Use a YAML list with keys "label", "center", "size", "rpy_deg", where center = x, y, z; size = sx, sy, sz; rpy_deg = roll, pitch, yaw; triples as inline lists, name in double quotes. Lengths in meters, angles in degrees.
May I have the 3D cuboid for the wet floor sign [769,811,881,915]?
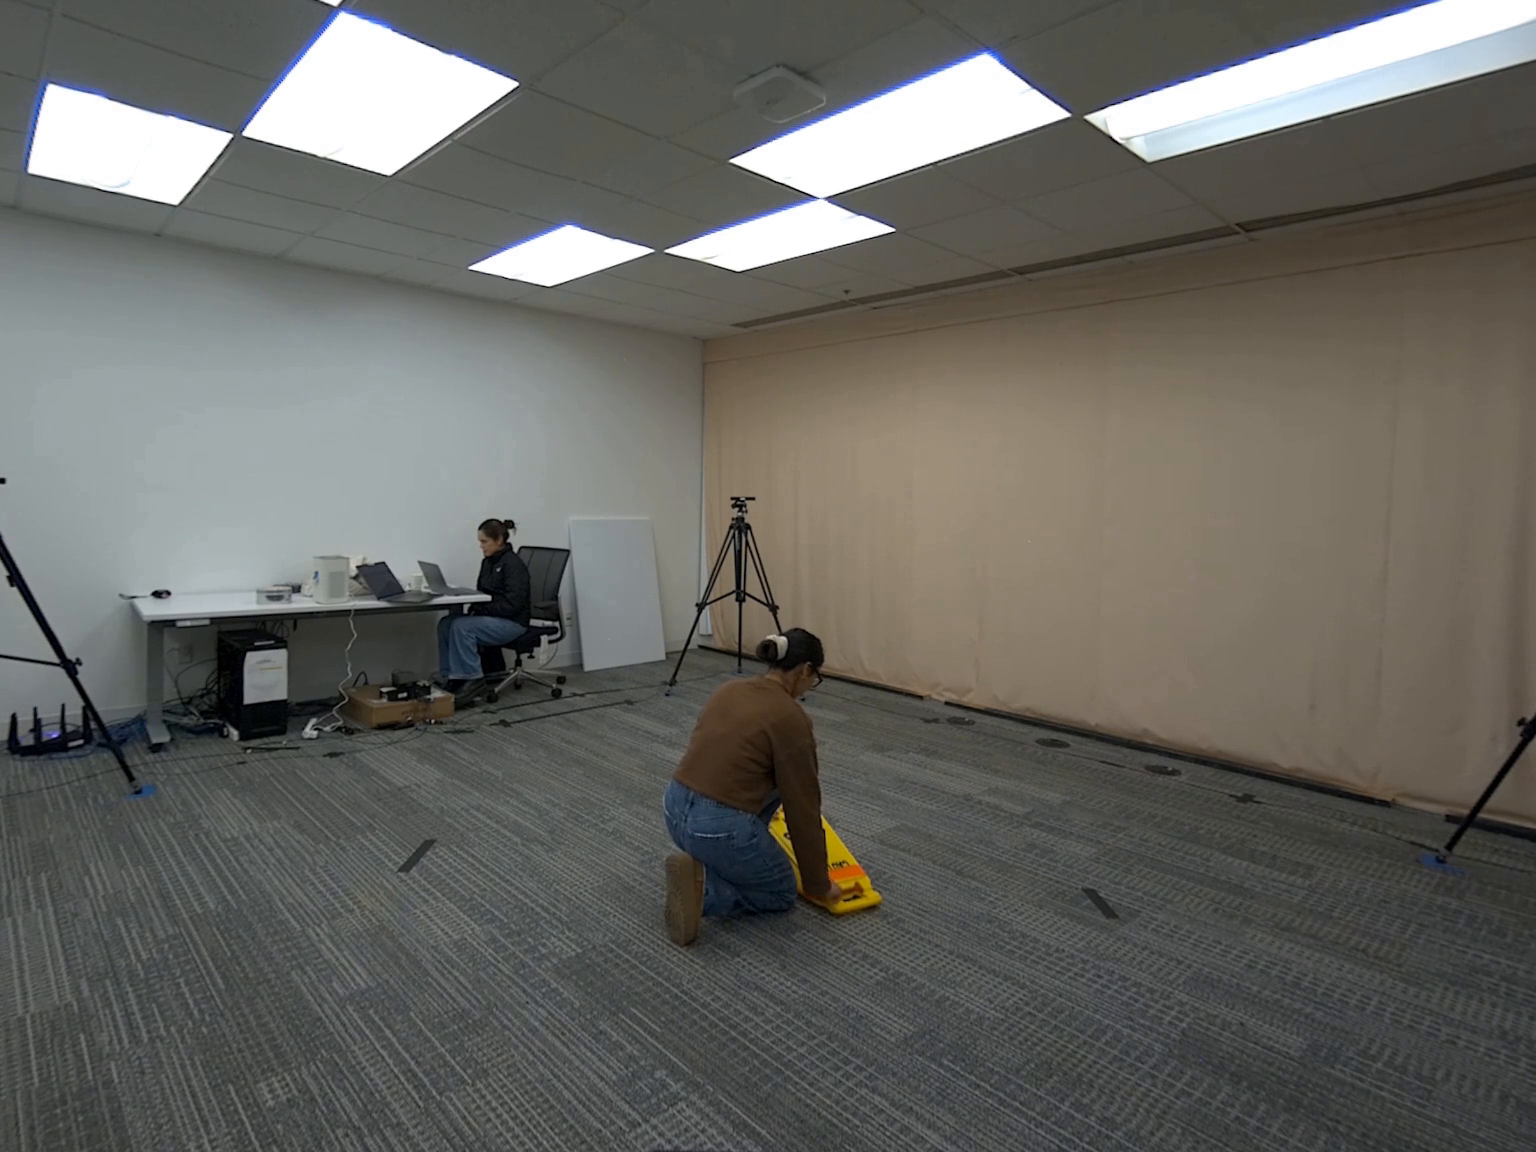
- label: "wet floor sign"
  center: [0.139, 1.035, 3.109]
  size: [0.276, 0.287, 0.664]
  rpy_deg: [-1, 14, -30]
